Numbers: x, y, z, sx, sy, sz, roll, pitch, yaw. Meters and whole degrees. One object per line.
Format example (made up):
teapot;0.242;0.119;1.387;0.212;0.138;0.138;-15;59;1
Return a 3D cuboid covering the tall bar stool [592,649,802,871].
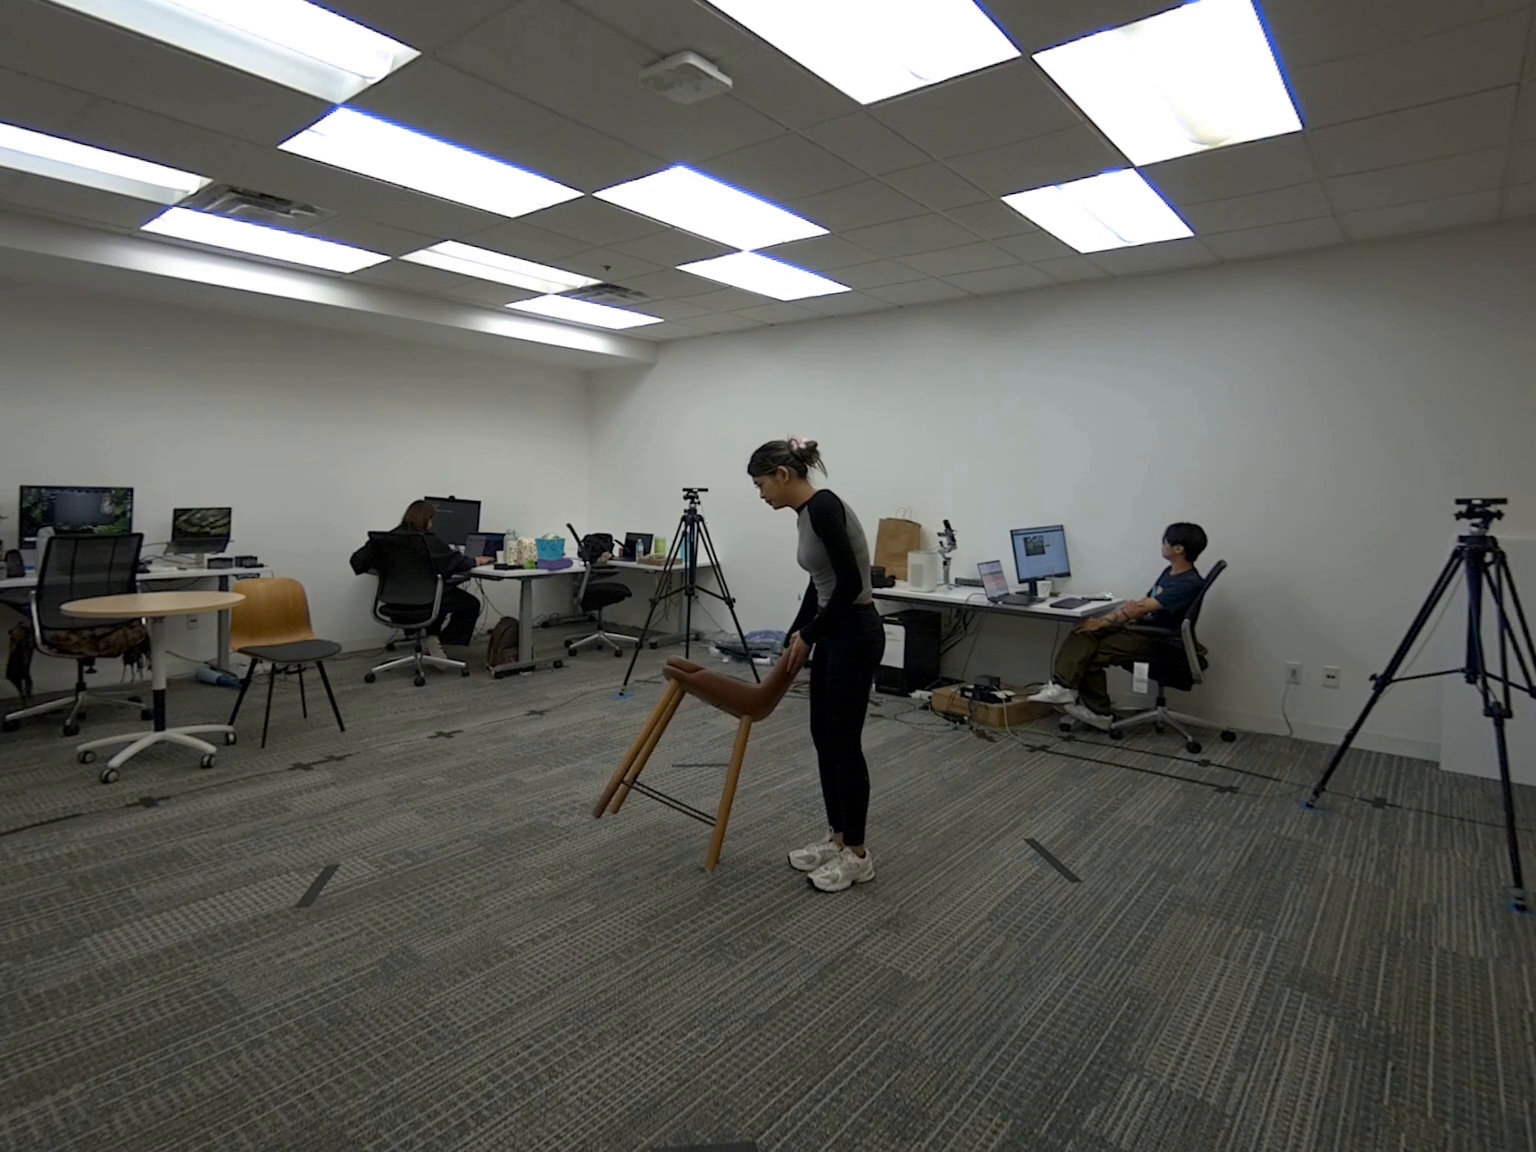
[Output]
tall bar stool;-0.238;0.557;3.142;0.473;0.895;0.448;23;-14;7
